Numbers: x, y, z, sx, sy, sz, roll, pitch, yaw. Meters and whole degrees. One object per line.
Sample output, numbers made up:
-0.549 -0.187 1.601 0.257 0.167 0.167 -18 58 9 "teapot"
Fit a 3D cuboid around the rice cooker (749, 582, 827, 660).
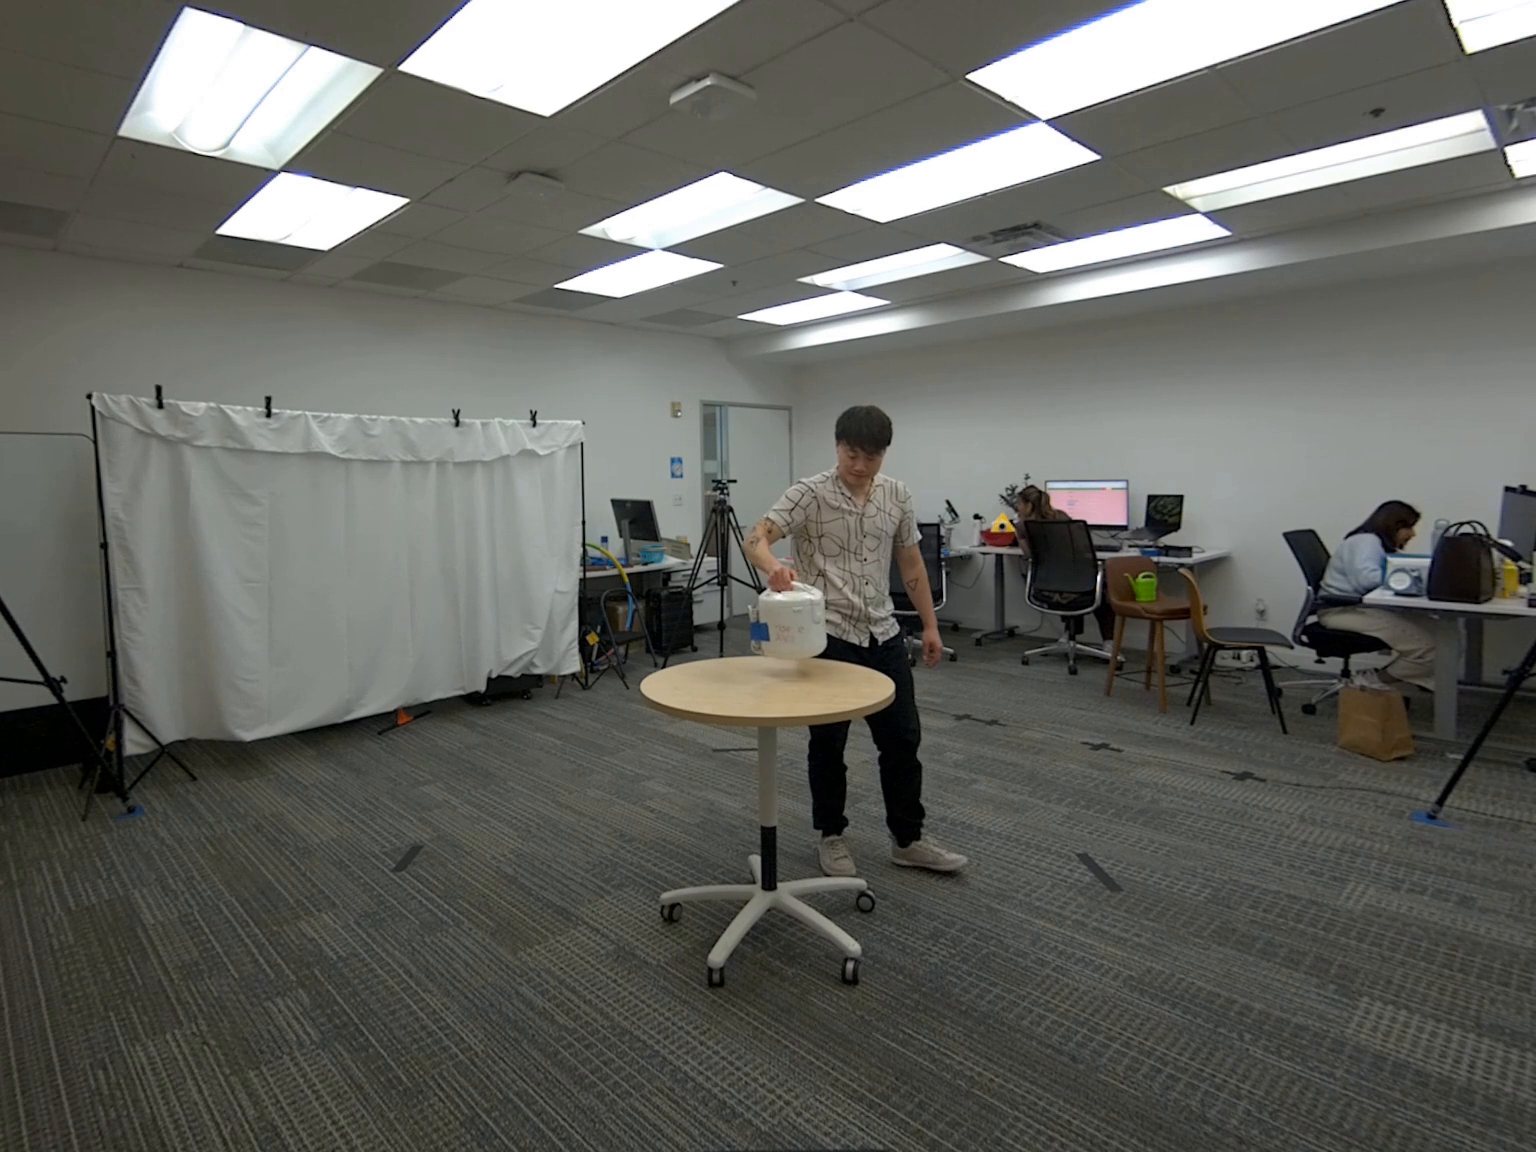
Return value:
0.074 0.132 2.679 0.227 0.231 0.212 2 9 44 "rice cooker"
